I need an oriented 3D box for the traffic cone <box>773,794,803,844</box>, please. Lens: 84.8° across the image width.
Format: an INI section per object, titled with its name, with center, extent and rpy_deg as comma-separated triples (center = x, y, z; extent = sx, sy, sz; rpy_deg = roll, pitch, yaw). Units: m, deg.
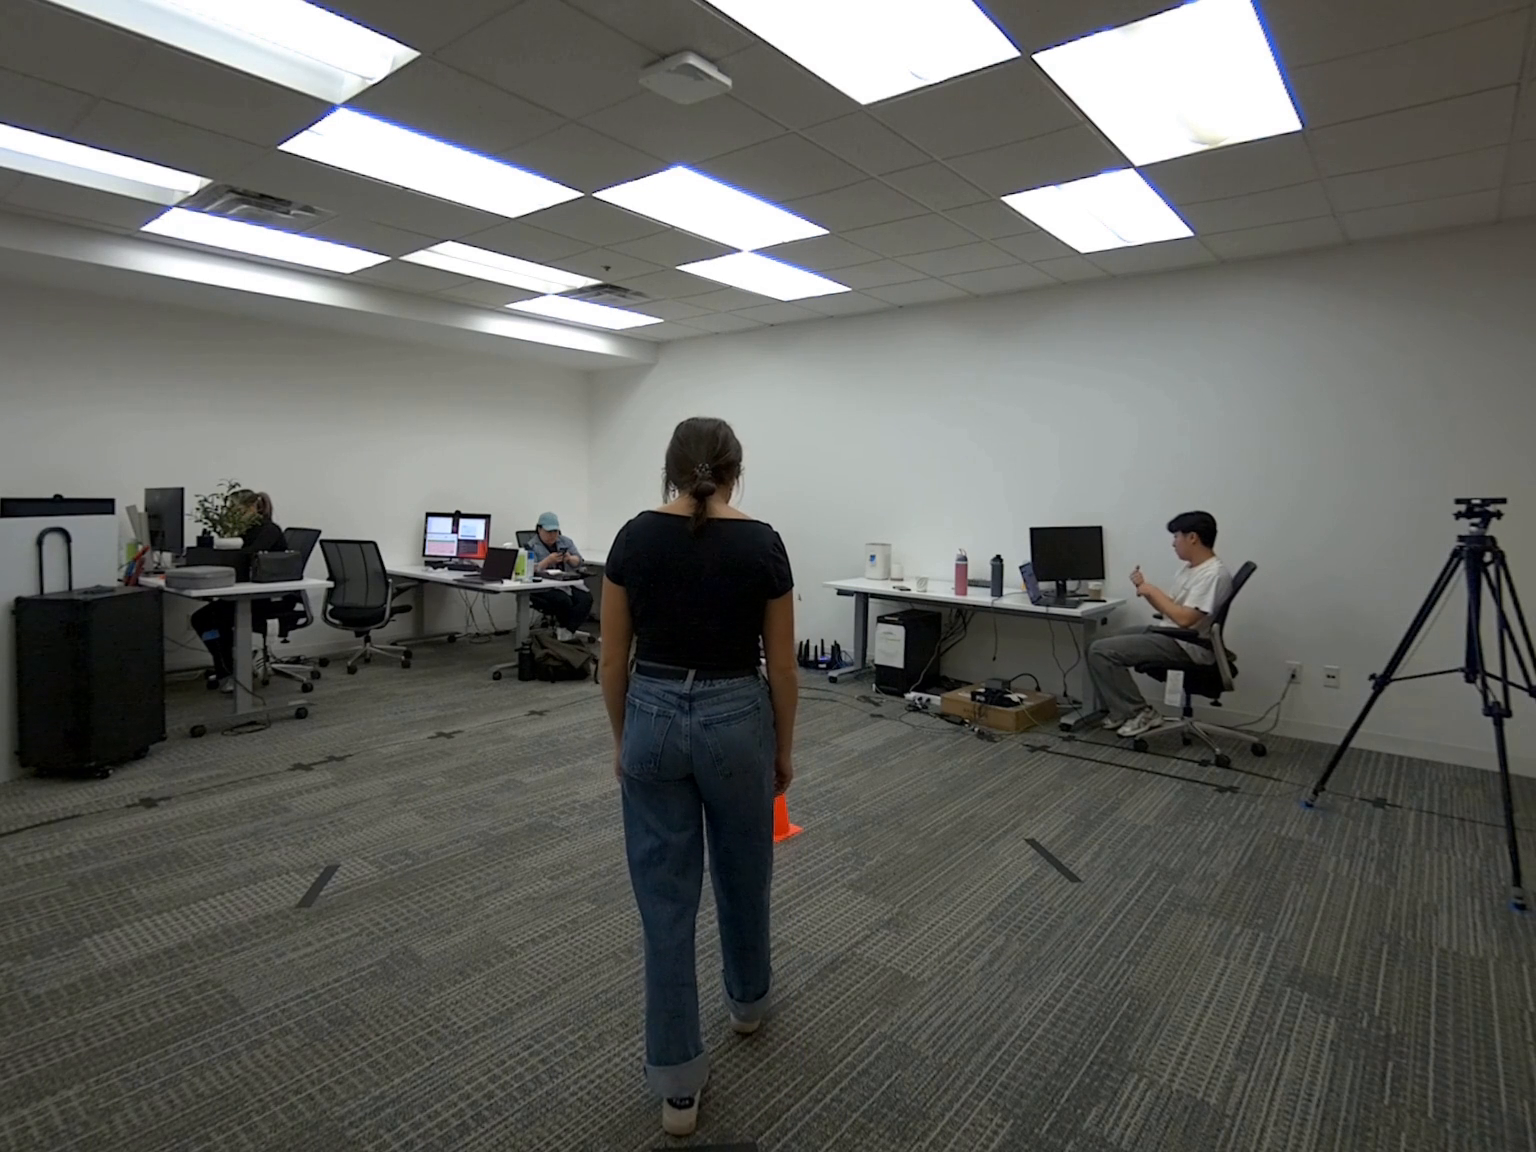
[traffic cone]
center = 0.016, 0.842, 3.479
extent = 0.210, 0.382, 0.199
rpy_deg = 3, 5, 41
